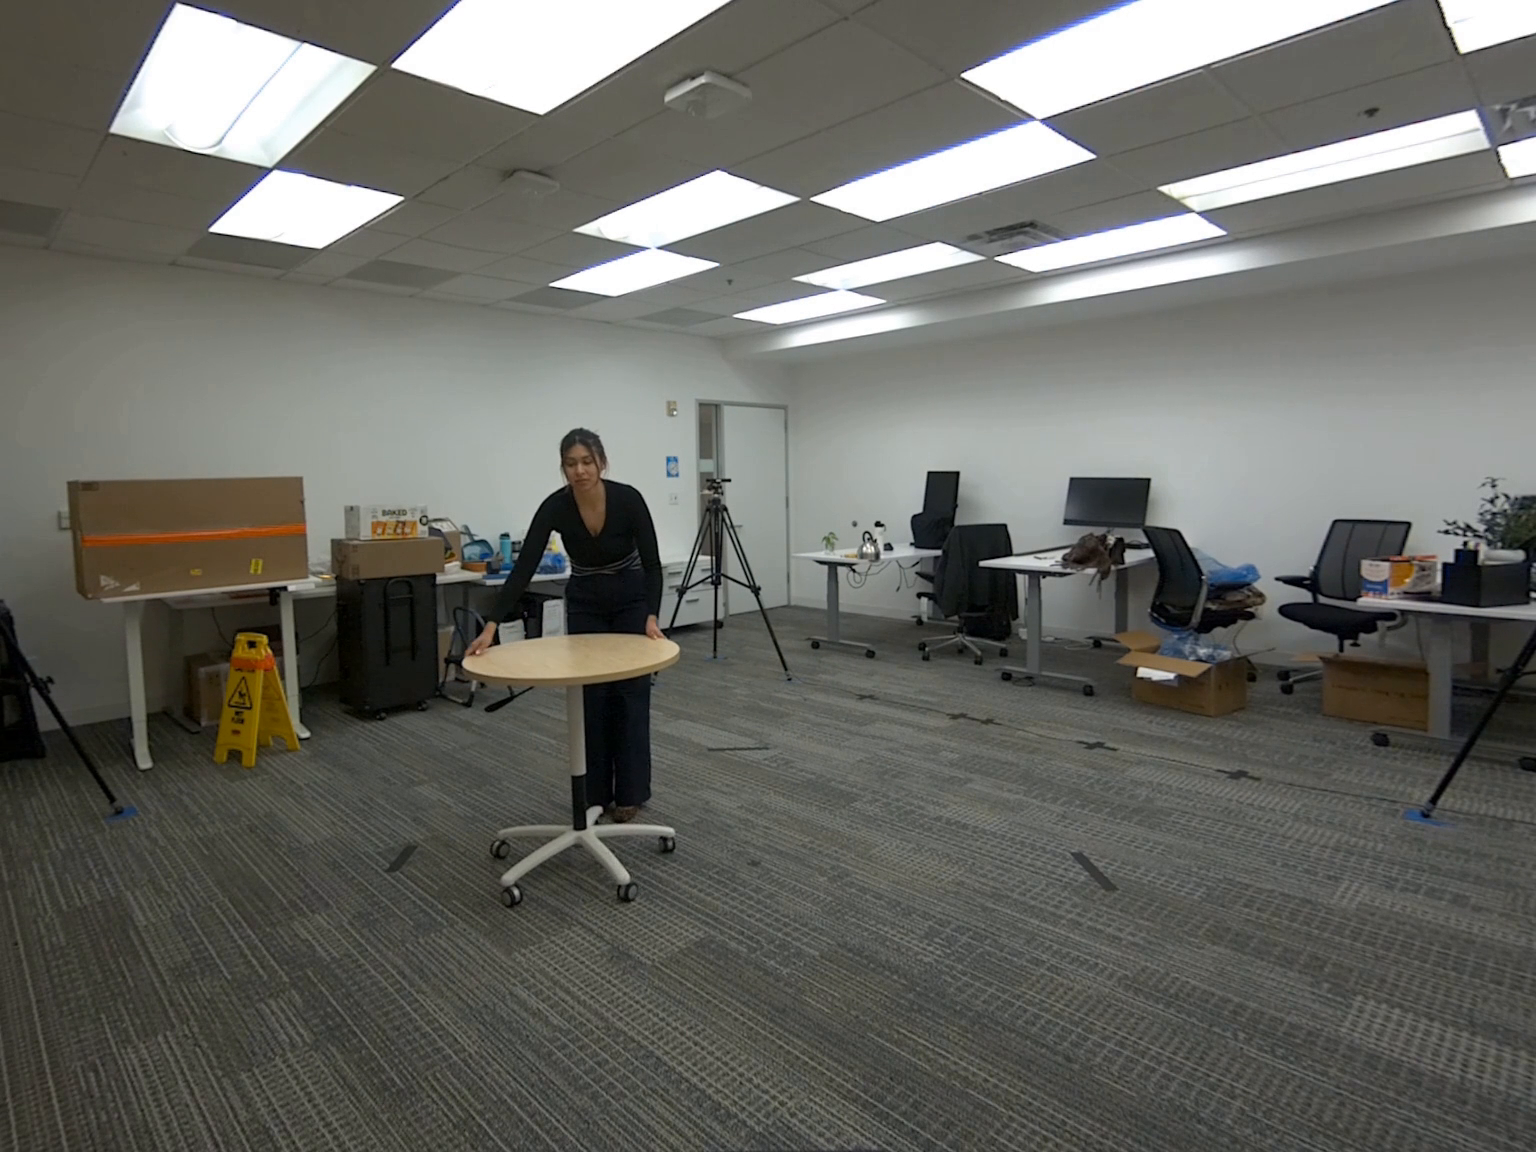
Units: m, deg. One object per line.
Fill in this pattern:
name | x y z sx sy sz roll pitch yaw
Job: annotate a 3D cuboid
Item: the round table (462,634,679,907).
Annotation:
round table | -0.685 0.672 3.083 0.763 0.791 0.768 -2 5 -1
